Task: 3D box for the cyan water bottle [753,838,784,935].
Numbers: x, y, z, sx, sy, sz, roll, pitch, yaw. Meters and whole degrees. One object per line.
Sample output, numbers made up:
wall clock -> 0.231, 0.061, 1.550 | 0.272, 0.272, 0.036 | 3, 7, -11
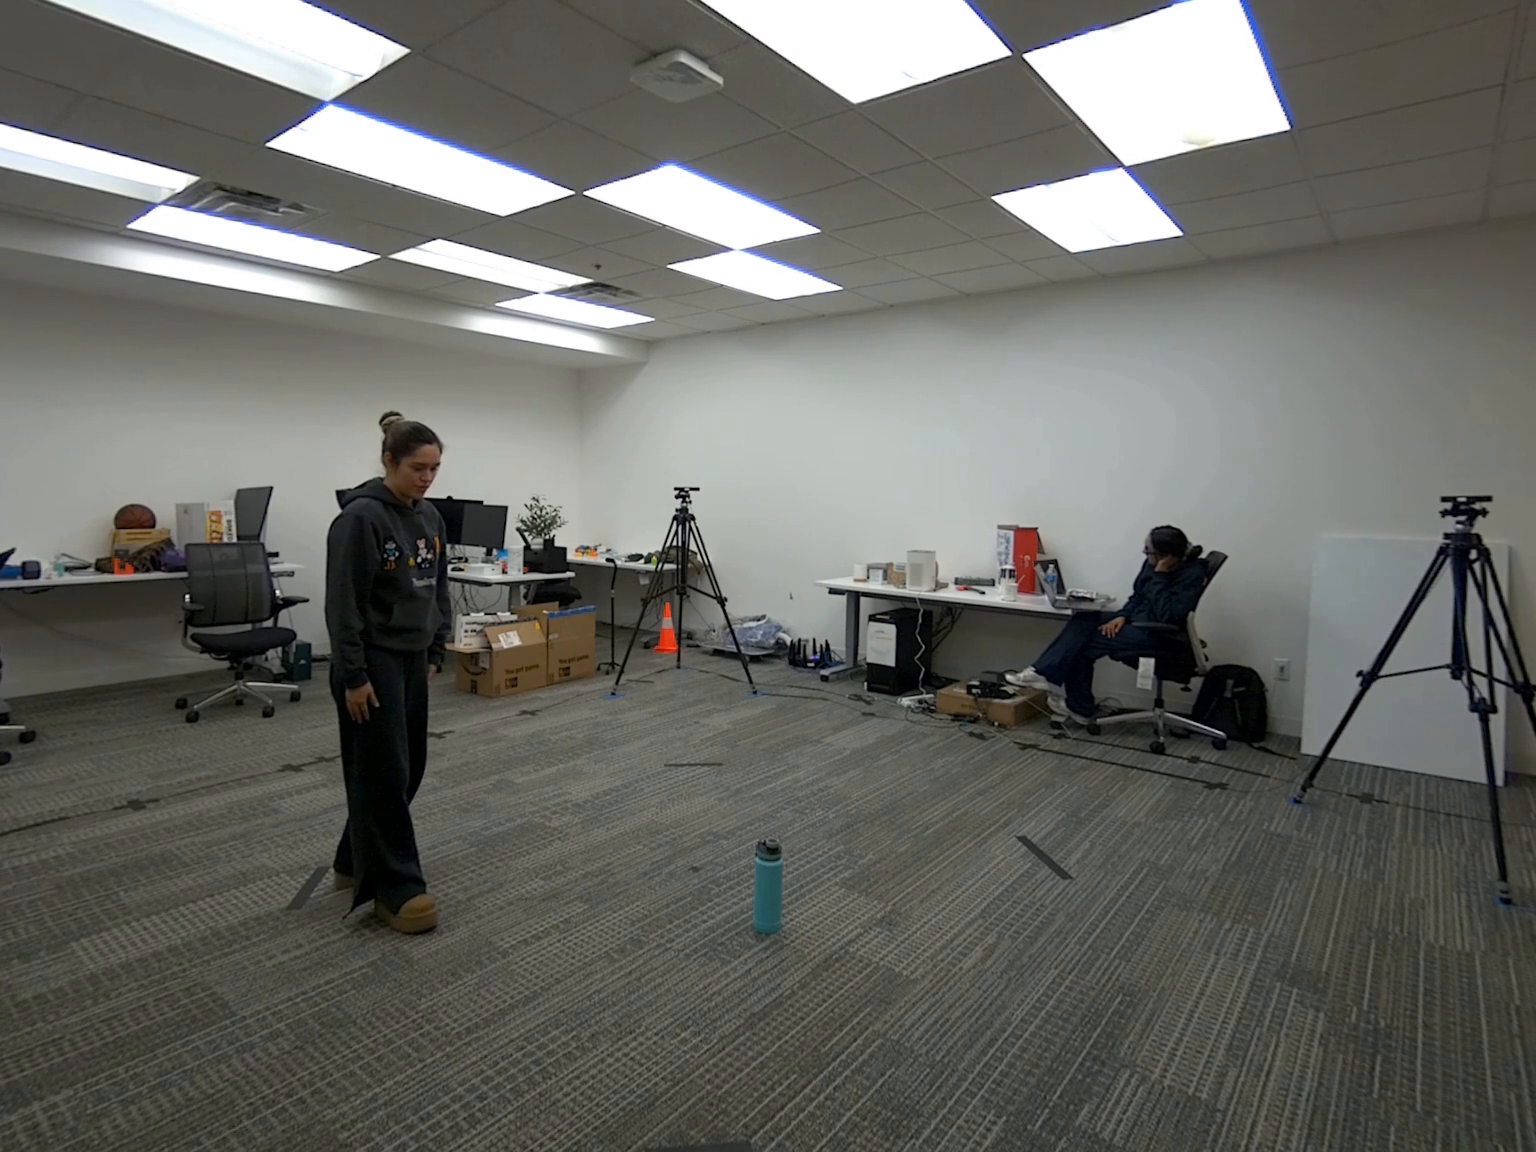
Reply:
cyan water bottle -> 0.006, 0.974, 2.688 | 0.092, 0.283, 0.092 | 1, 2, -2
